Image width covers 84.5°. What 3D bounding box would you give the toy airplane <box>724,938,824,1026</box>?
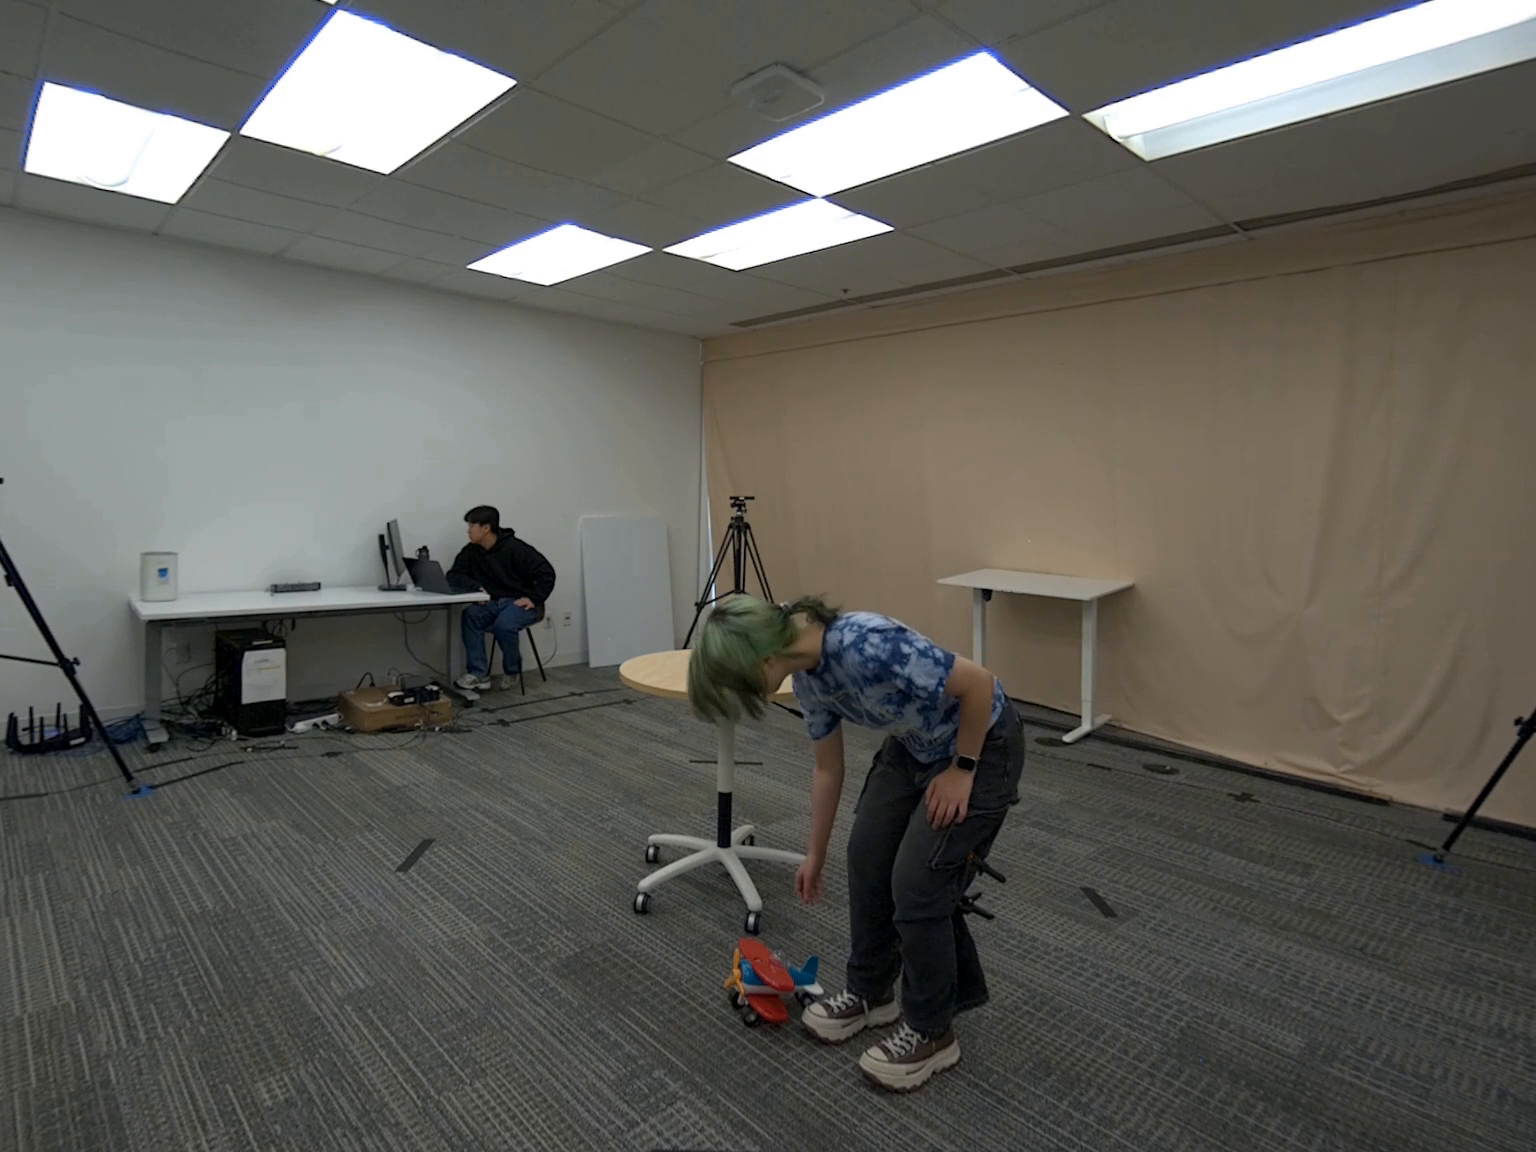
[{"bbox_3d":[0.005,1.112,2.300,0.257,0.156,0.254,6,9,38],"label":"toy airplane"}]
